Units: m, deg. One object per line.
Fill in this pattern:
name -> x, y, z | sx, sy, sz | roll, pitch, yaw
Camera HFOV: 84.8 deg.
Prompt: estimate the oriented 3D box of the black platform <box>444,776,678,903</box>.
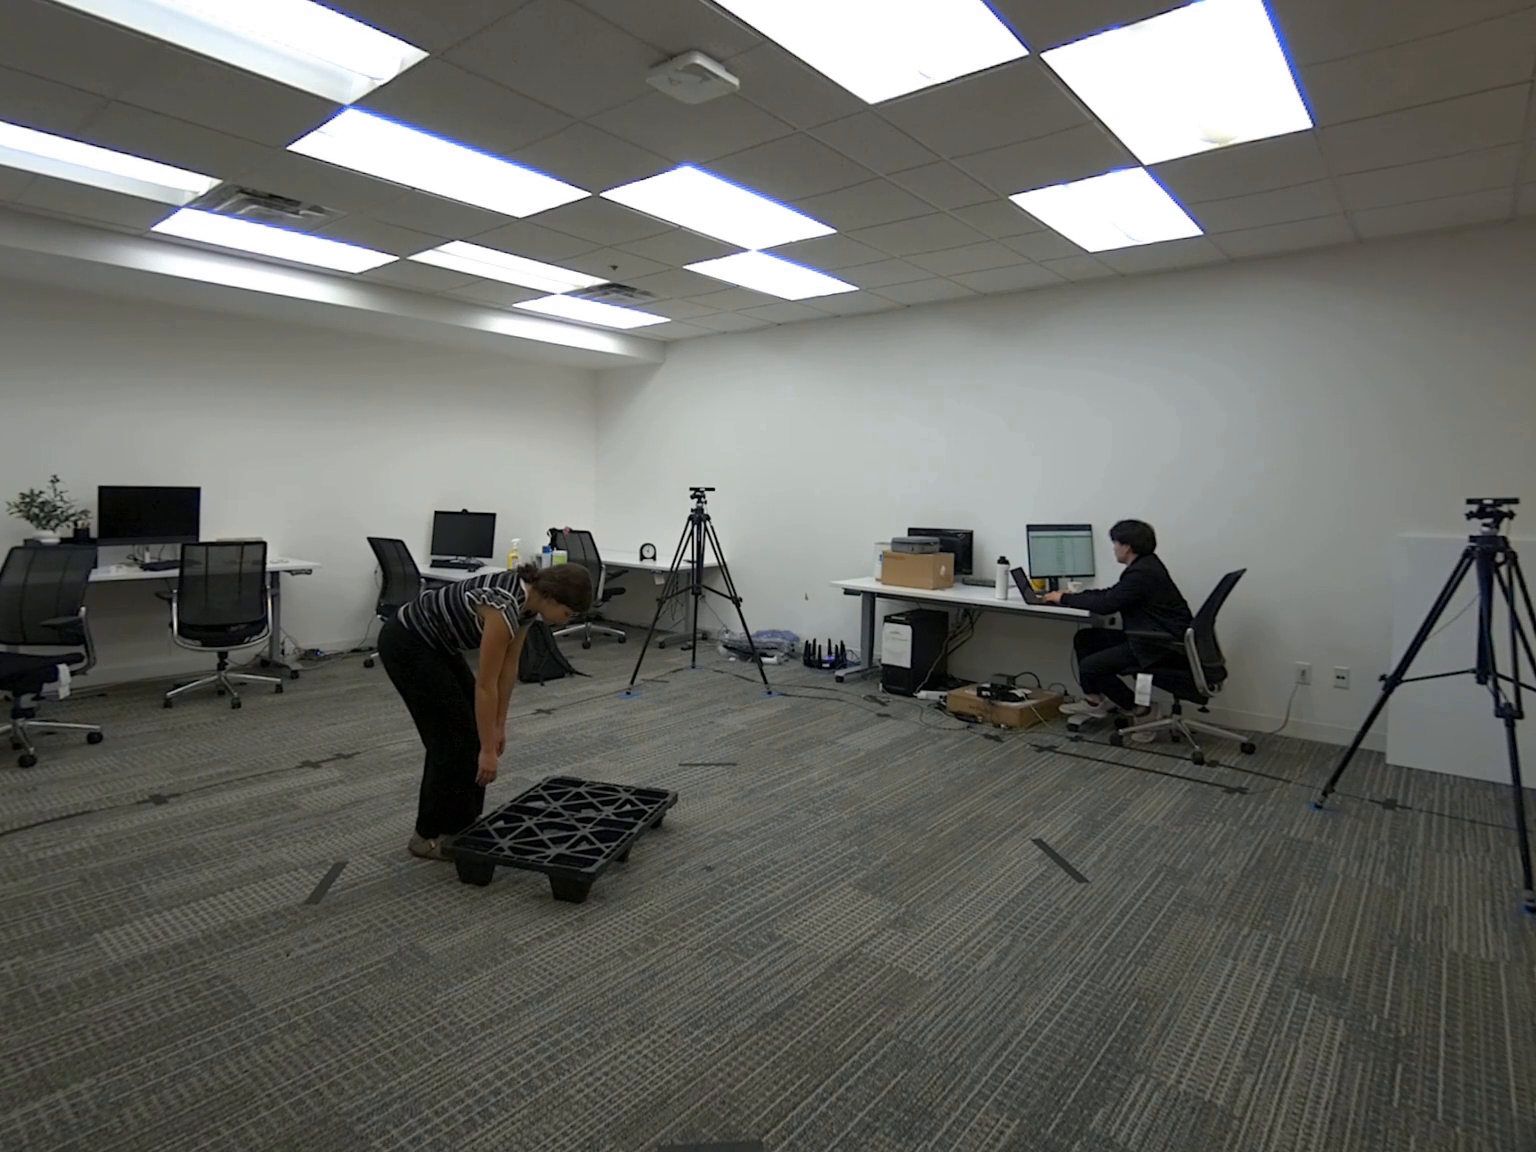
black platform -> -0.761, 0.976, 3.236 | 0.616, 0.143, 0.794 | 3, 6, 15
